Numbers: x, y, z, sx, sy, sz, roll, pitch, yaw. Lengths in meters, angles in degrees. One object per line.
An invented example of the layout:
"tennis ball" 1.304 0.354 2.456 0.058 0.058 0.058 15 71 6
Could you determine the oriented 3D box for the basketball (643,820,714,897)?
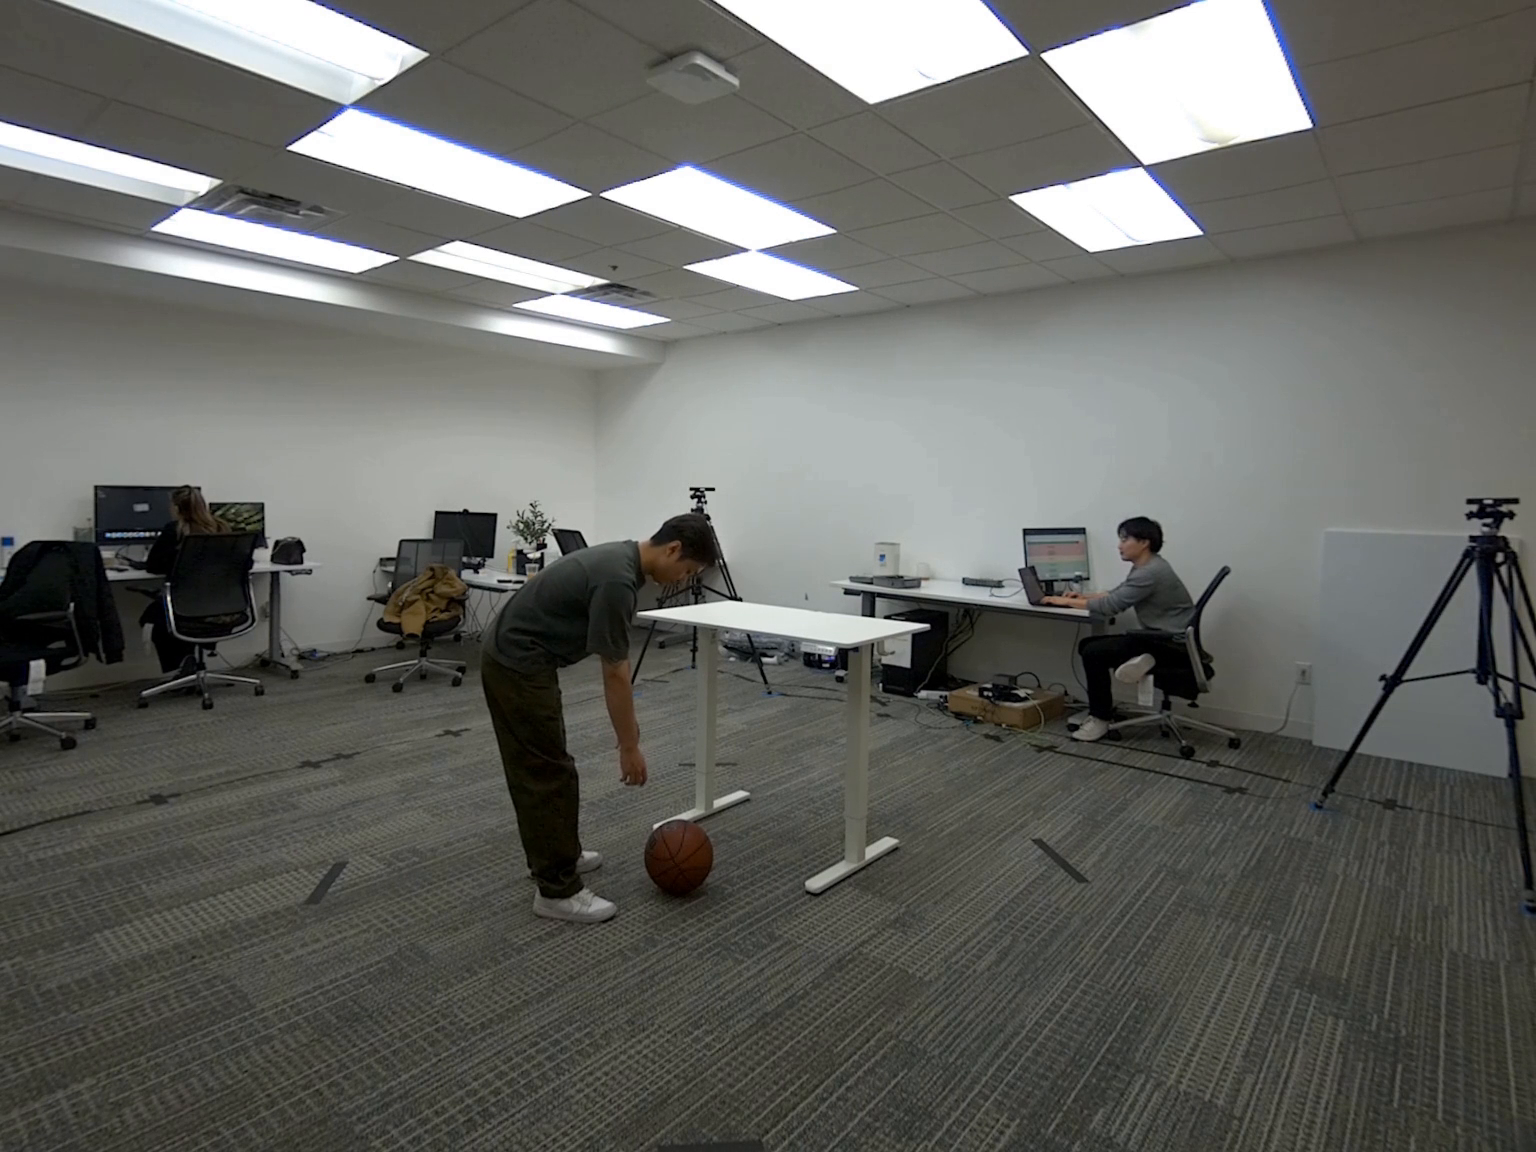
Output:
"basketball" -0.318 0.964 2.925 0.235 0.235 0.237 1 4 -2
